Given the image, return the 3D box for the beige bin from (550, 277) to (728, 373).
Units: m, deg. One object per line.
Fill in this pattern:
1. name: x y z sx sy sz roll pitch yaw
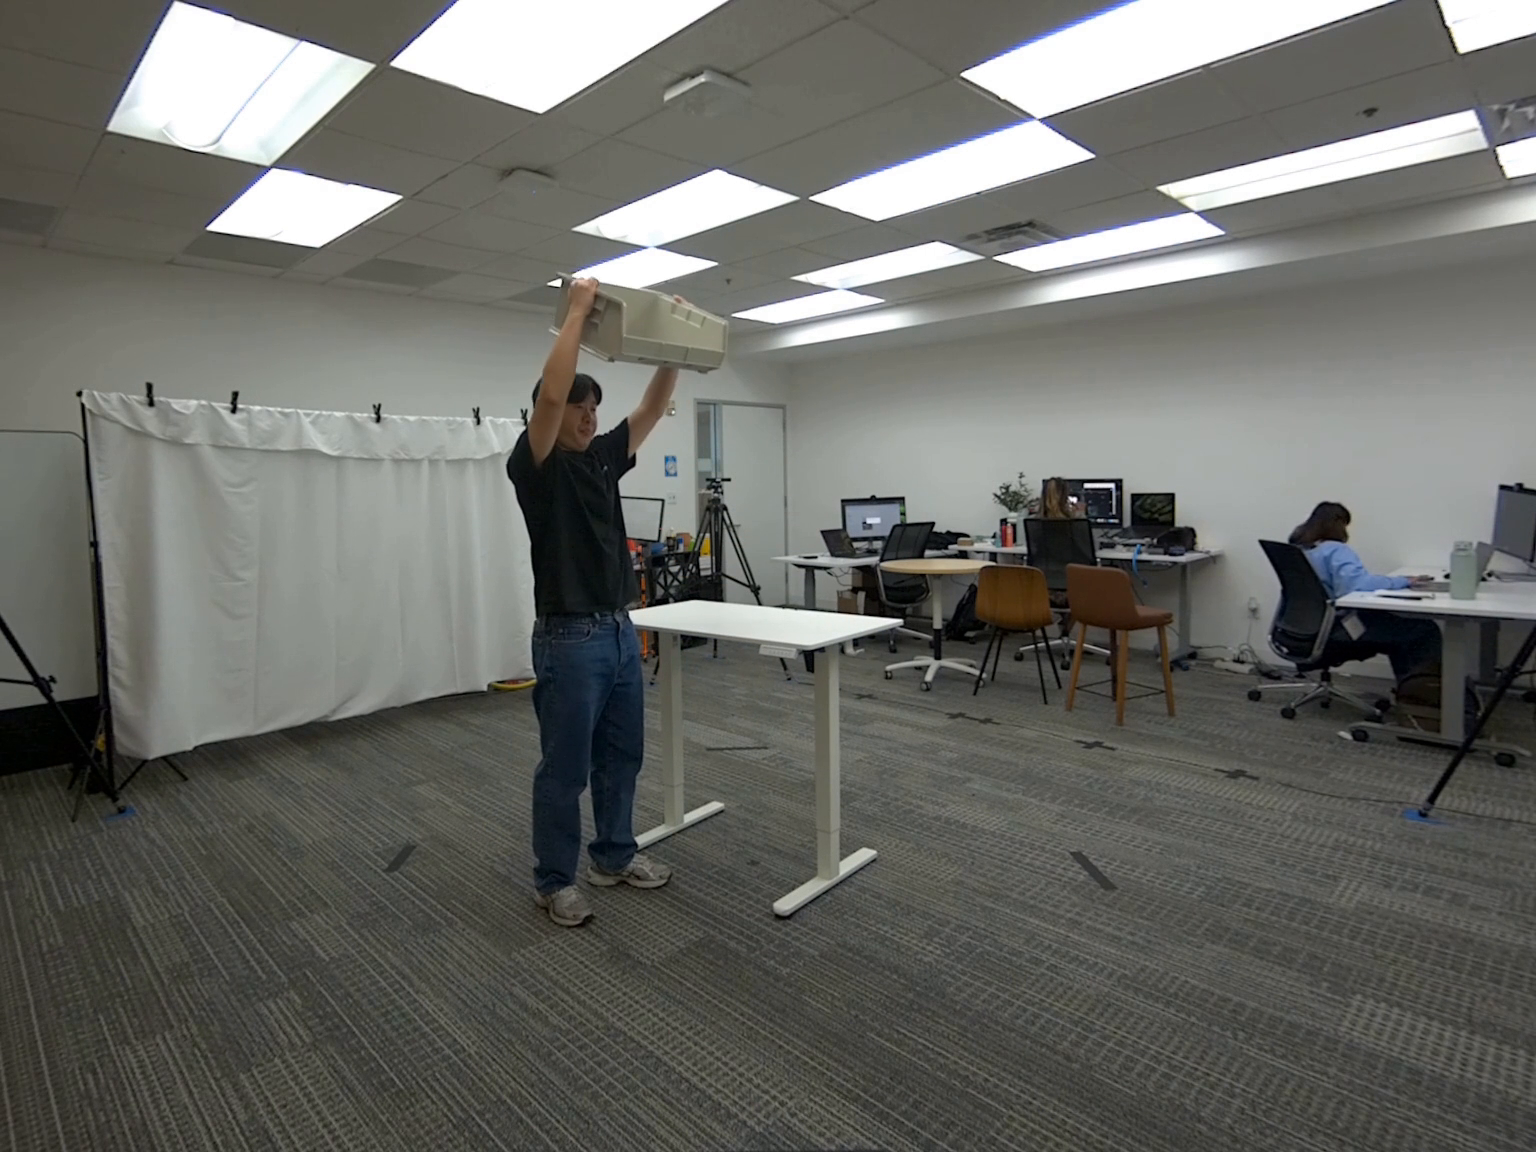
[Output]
1. beige bin: -0.392 -0.765 2.643 0.411 0.187 0.392 -6 31 -46
